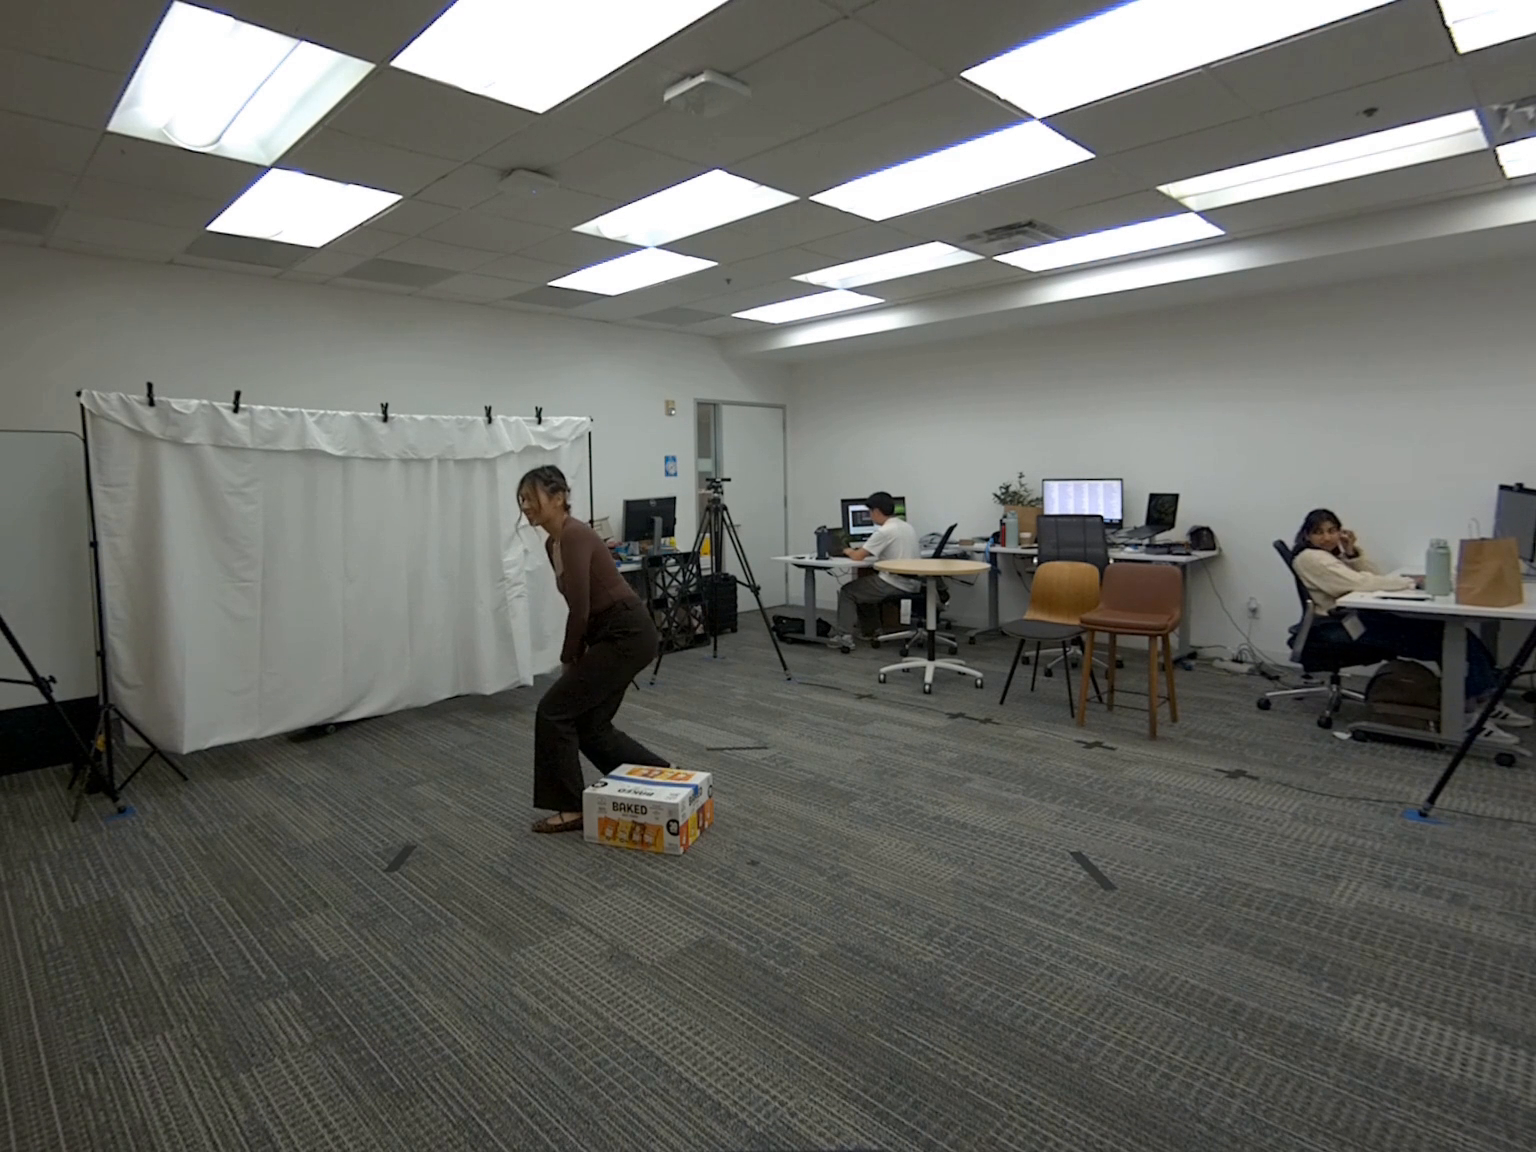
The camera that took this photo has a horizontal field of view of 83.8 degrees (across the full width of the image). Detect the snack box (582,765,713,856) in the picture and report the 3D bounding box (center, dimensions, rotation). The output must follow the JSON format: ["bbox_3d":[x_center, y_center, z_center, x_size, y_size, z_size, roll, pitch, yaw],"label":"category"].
[{"bbox_3d":[-0.467,0.915,3.386,0.413,0.205,0.335,1,6,19],"label":"snack box"}]
